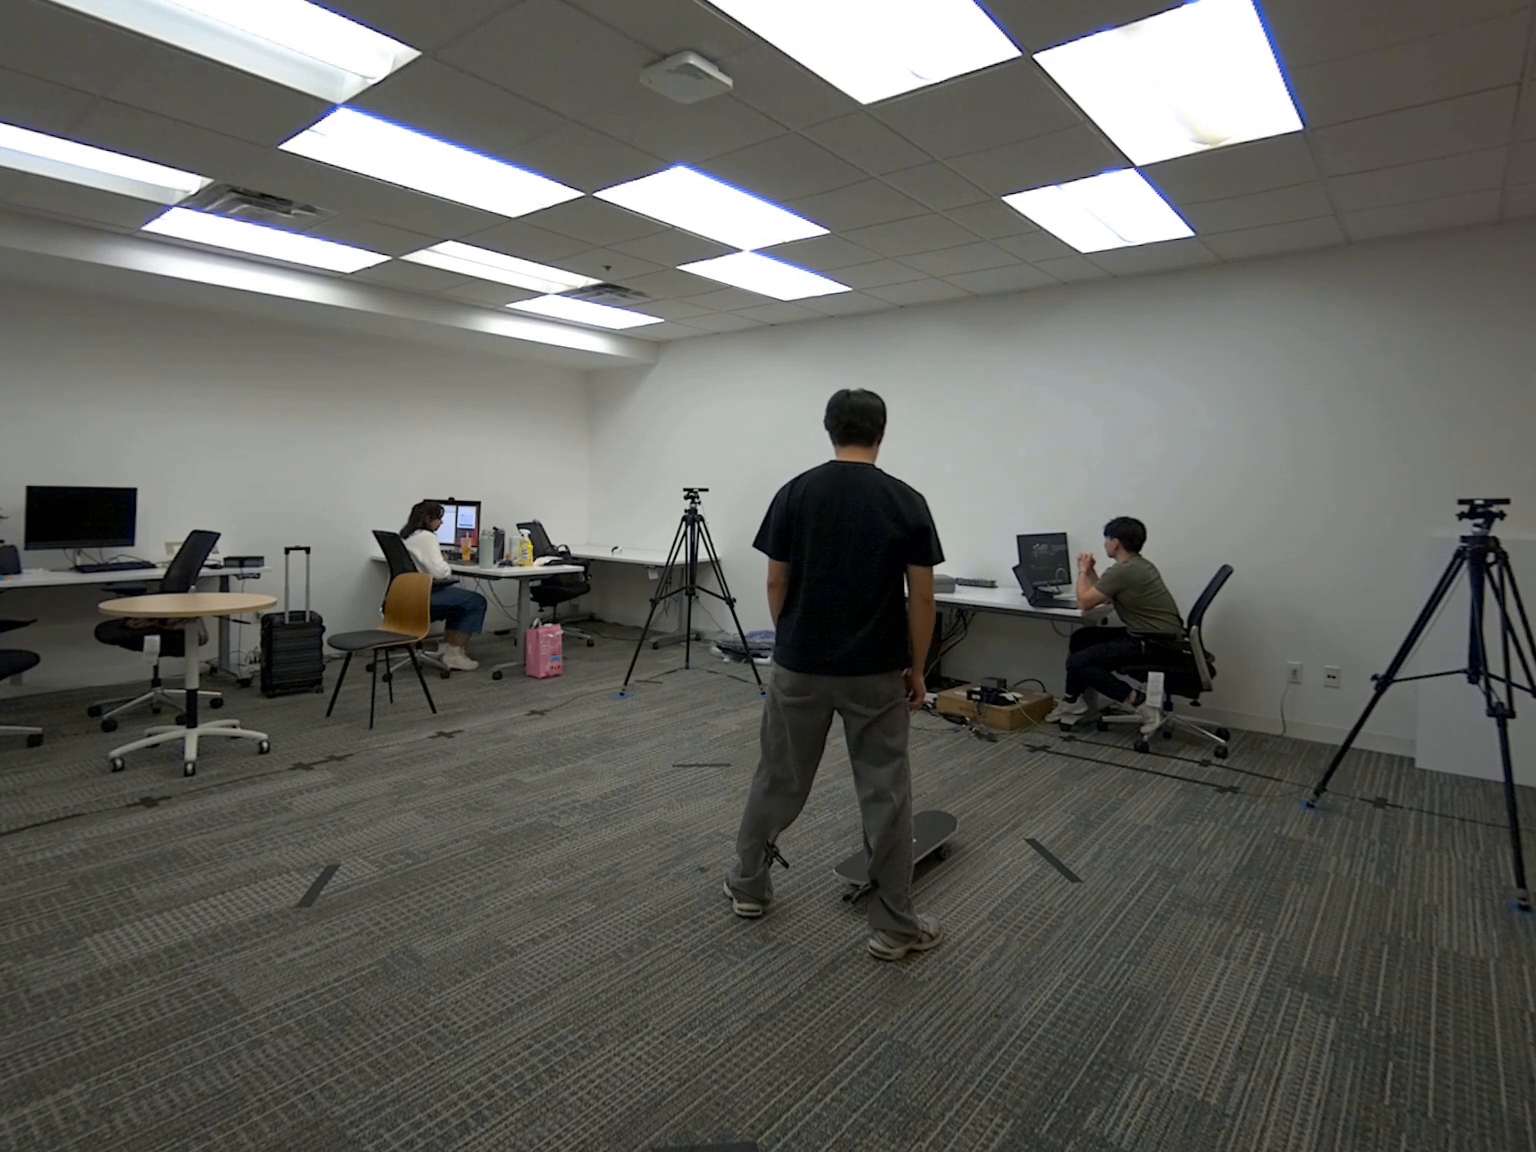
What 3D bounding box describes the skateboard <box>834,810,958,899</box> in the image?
[{"bbox_3d":[0.481,1.026,3.135,0.200,0.110,0.763,5,7,36],"label":"skateboard"}]
